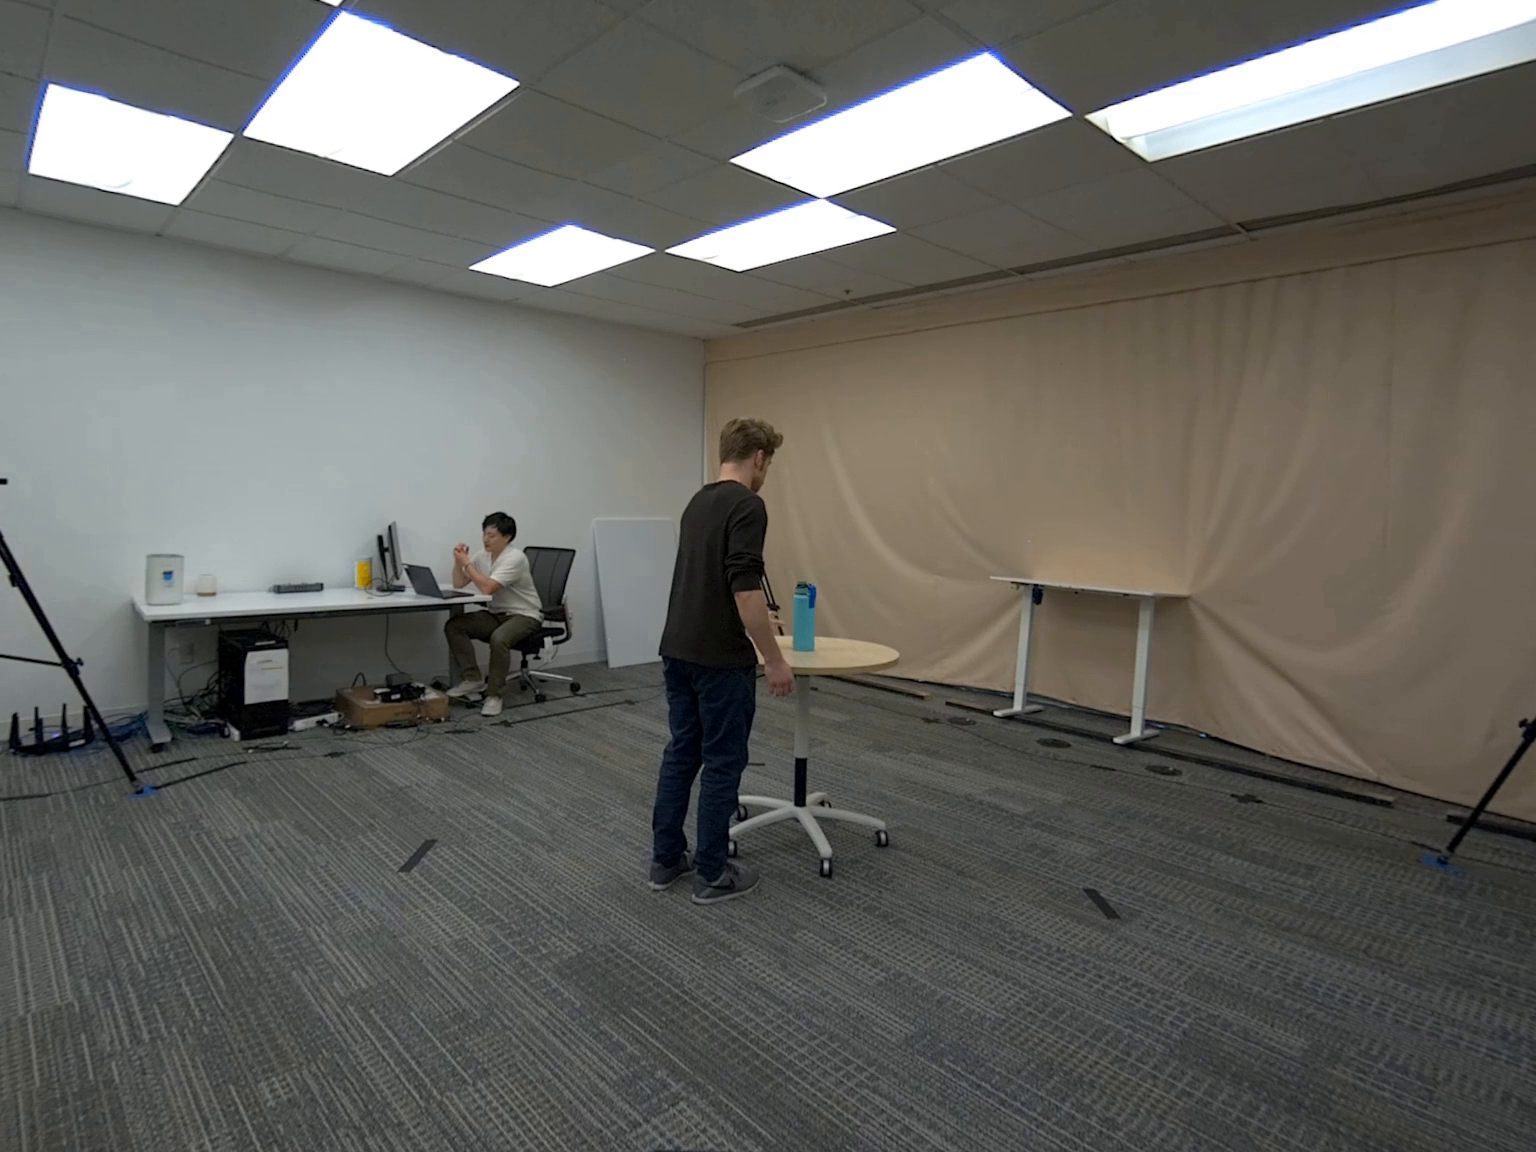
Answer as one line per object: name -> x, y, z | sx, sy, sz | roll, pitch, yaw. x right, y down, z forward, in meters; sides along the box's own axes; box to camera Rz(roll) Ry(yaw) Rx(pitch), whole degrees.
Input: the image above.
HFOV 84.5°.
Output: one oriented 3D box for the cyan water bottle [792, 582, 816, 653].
cyan water bottle -> 0.141, 0.163, 3.446 | 0.092, 0.283, 0.092 | 3, 3, -2
